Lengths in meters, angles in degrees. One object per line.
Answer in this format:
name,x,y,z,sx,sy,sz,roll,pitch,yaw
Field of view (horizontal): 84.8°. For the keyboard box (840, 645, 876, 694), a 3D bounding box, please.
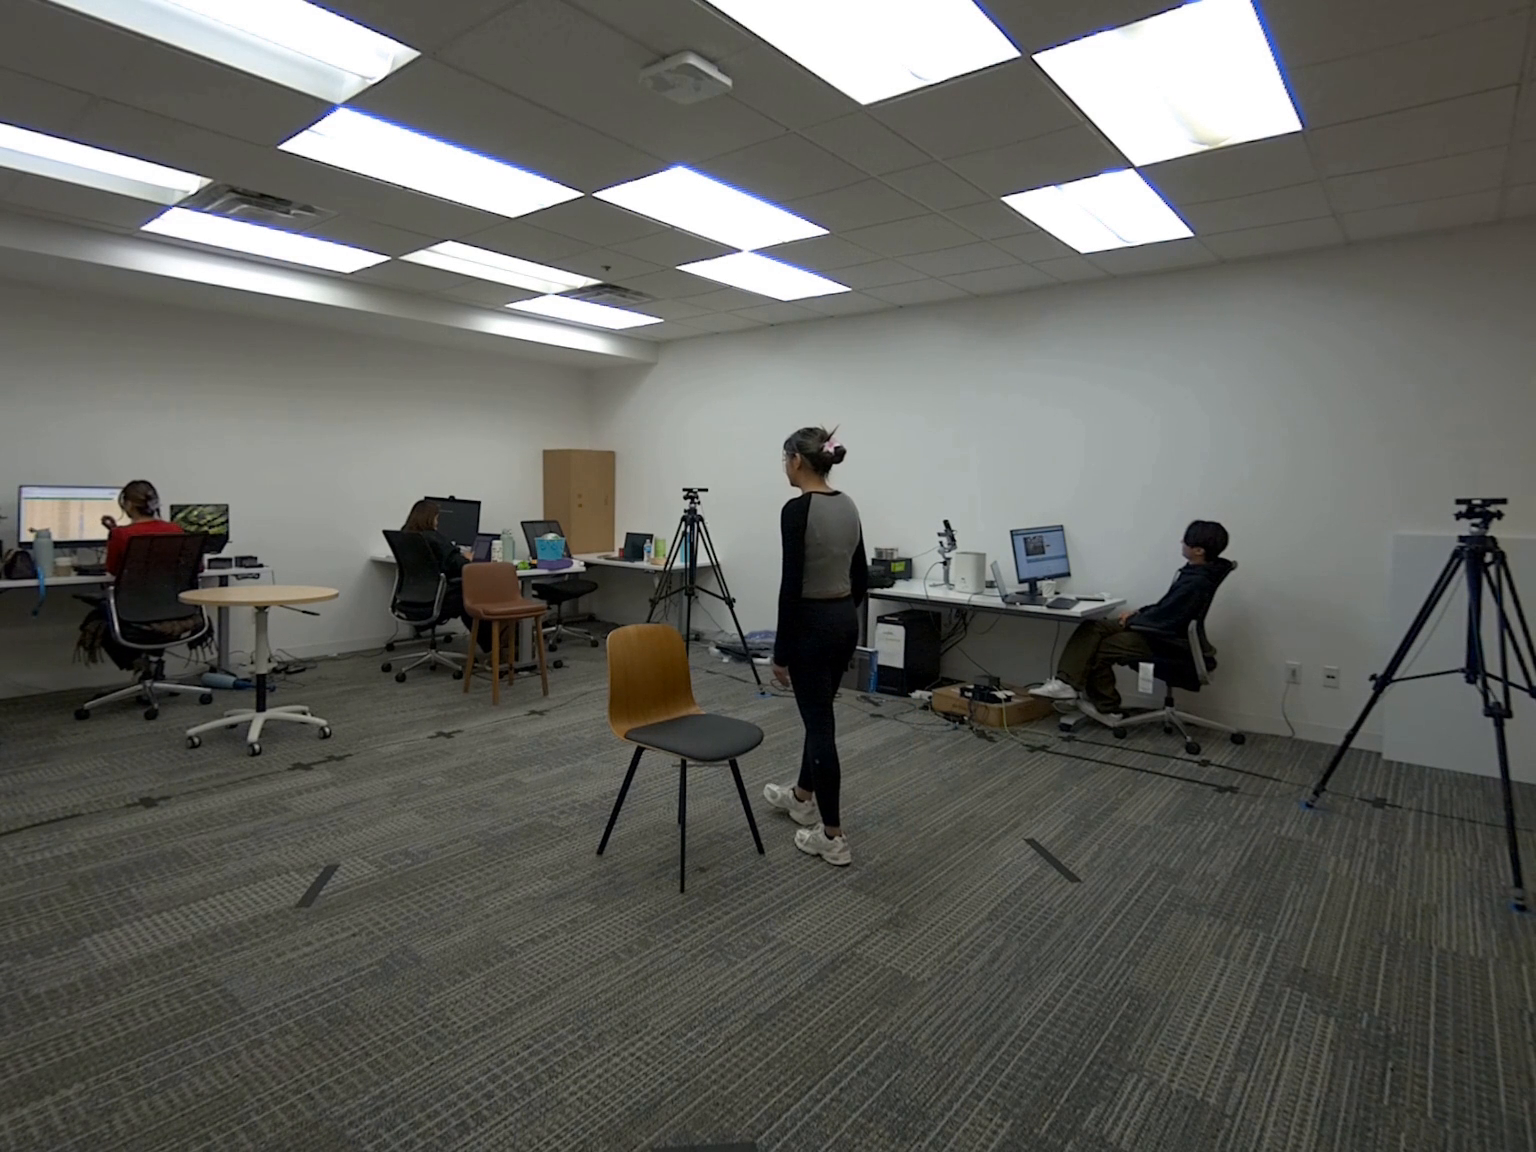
keyboard box,0.242,0.362,3.580,0.452,0.175,0.057,7,4,38
